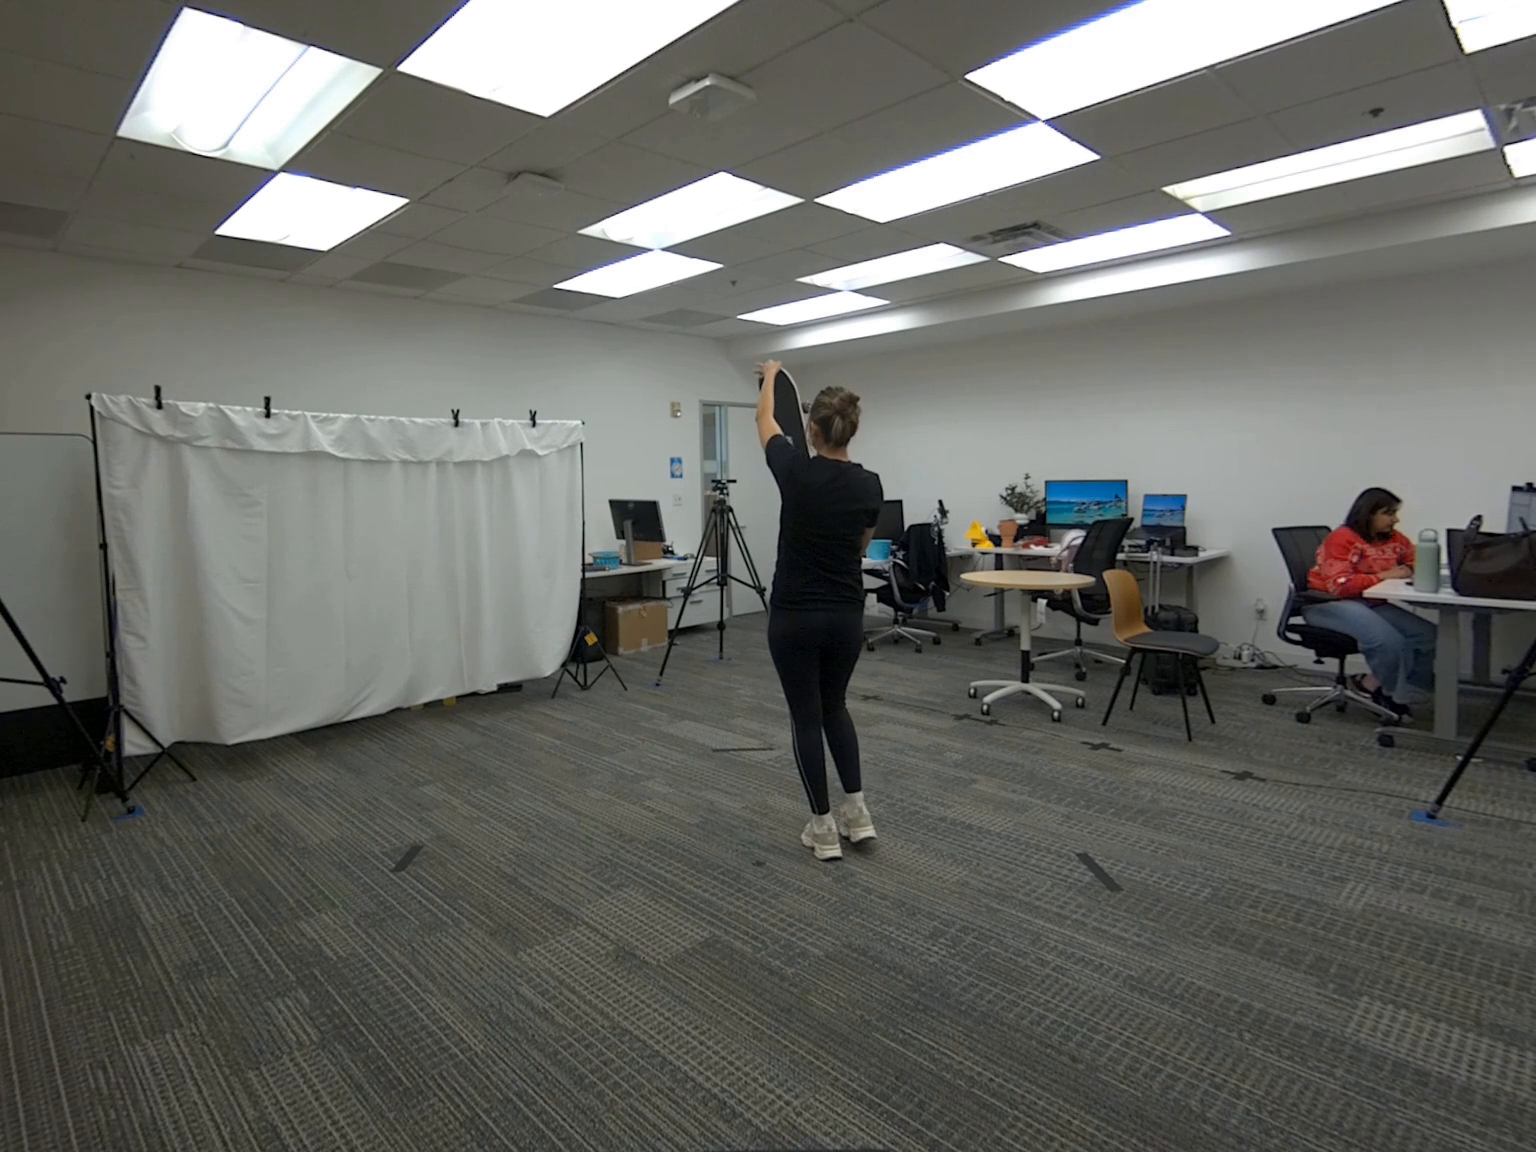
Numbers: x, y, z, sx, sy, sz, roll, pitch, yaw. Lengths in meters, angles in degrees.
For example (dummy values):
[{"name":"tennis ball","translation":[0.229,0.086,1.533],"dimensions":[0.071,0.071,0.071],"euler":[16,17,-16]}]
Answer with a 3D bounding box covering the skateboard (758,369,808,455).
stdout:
[{"name":"skateboard","translation":[0.127,-0.488,3.559],"dimensions":[0.199,0.777,0.108],"euler":[-3,13,43]}]
